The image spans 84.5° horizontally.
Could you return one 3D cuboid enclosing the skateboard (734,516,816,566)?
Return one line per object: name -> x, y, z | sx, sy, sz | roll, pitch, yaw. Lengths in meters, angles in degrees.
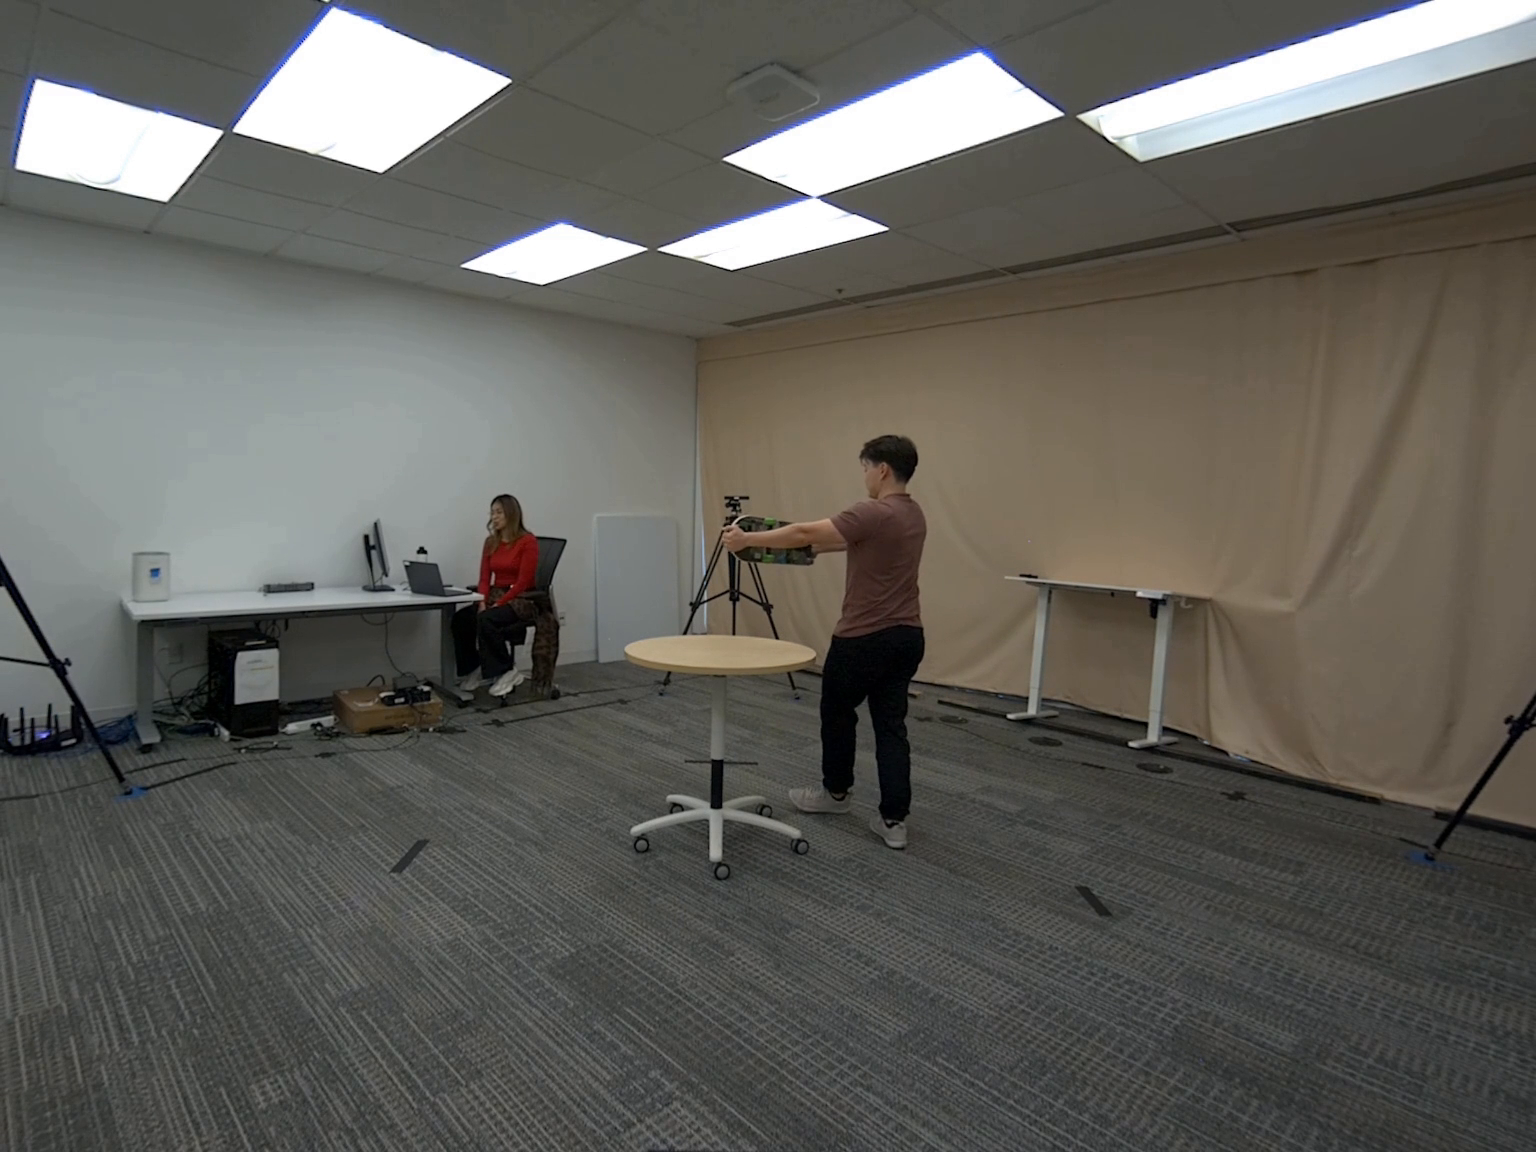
skateboard -> 0.056, -0.149, 3.729 | 0.113, 0.193, 0.768 | 6, 2, 29
